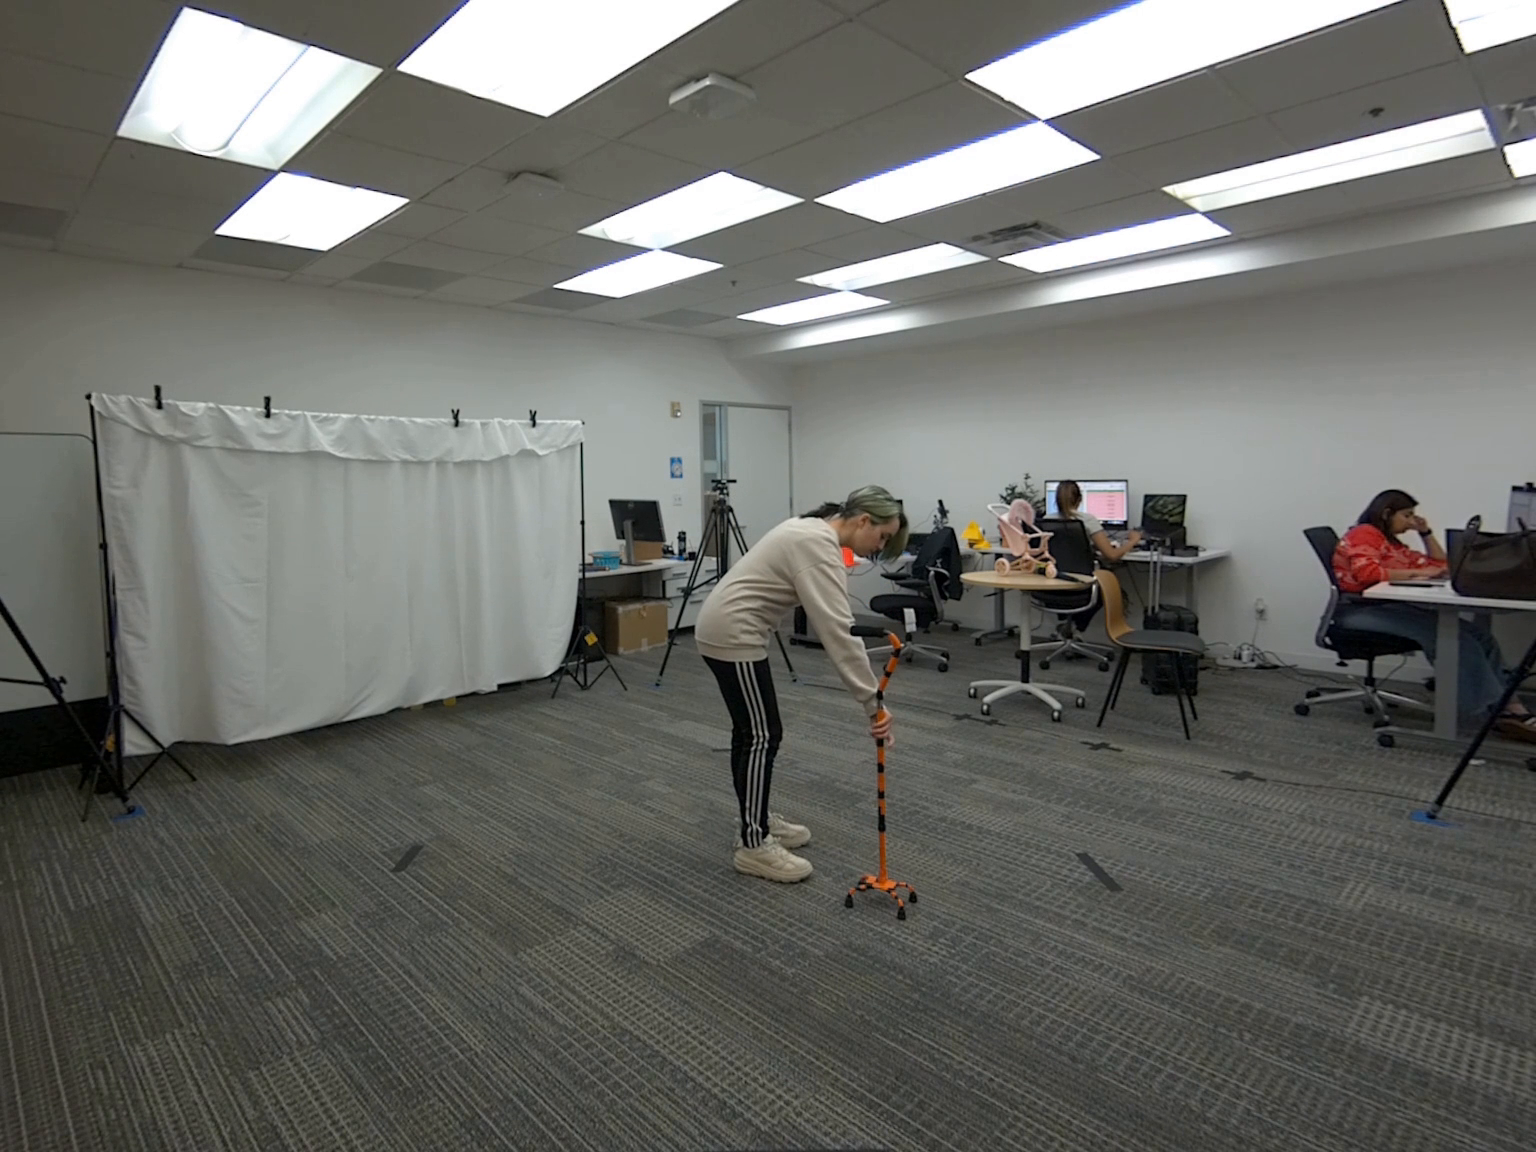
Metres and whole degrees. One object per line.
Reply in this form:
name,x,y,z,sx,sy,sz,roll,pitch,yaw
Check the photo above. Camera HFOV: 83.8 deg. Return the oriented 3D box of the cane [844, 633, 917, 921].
cane,0.369,0.620,2.773,0.212,0.905,0.148,2,4,28
